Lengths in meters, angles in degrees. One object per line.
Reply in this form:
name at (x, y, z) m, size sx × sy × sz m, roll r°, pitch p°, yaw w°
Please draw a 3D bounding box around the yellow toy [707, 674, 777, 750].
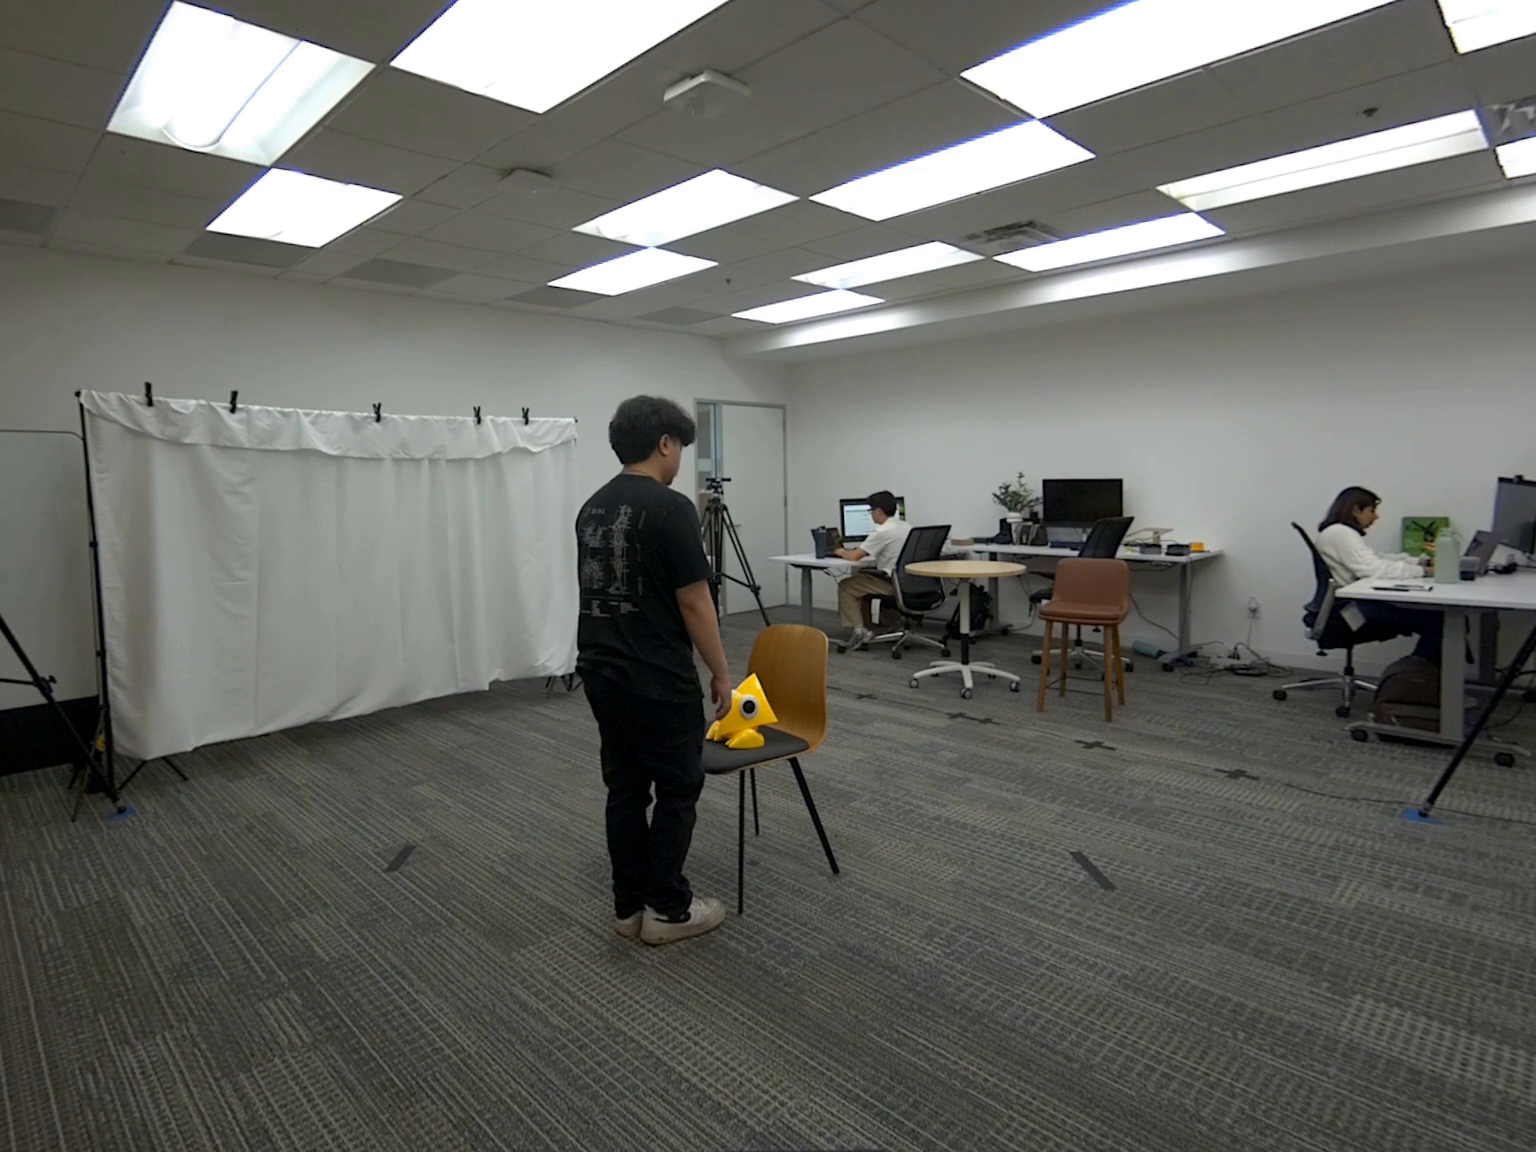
yellow toy at (-0.097, 0.464, 2.999) m, size 0.187 × 0.230 × 0.211 m, roll 1°, pitch 3°, yaw -39°
